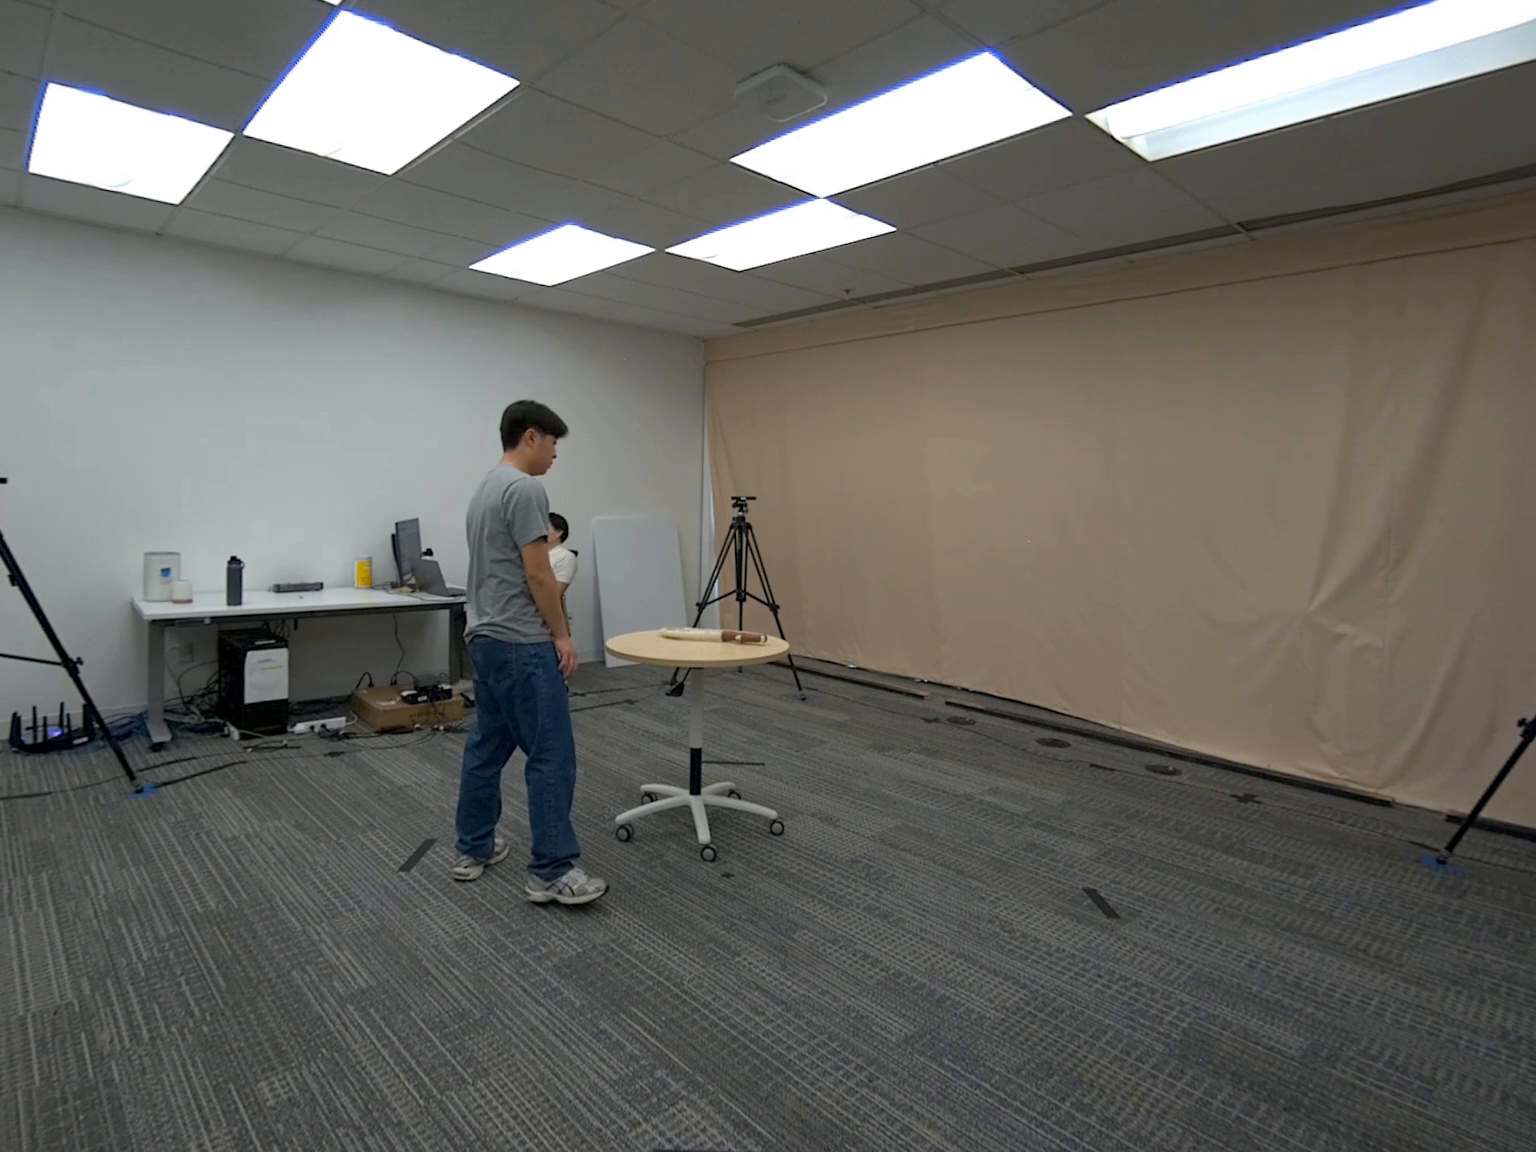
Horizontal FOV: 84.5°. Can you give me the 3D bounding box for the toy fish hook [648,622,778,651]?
[{"bbox_3d":[-0.239,0.255,3.641,0.515,0.048,0.221,3,6,22],"label":"toy fish hook"}]
